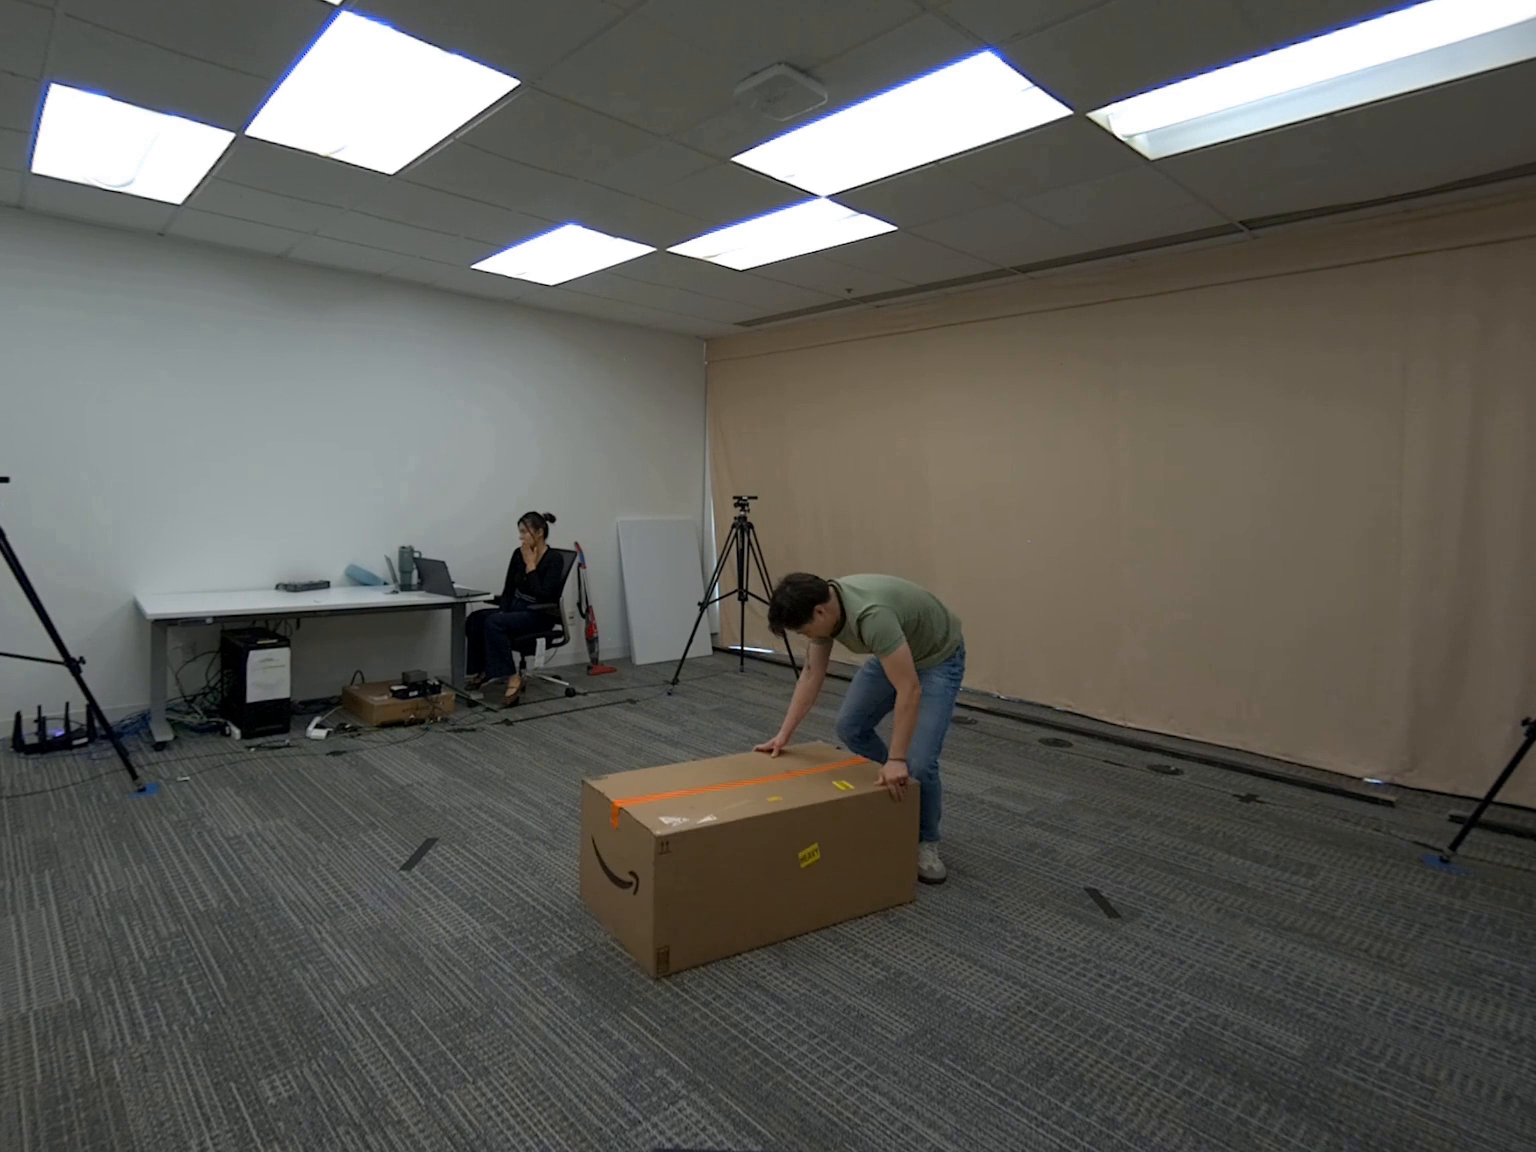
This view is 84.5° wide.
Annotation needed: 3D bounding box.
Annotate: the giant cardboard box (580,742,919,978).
[{"bbox_3d":[-0.073,0.908,2.919,1.004,0.425,0.591,-1,5,-32],"label":"giant cardboard box"}]
